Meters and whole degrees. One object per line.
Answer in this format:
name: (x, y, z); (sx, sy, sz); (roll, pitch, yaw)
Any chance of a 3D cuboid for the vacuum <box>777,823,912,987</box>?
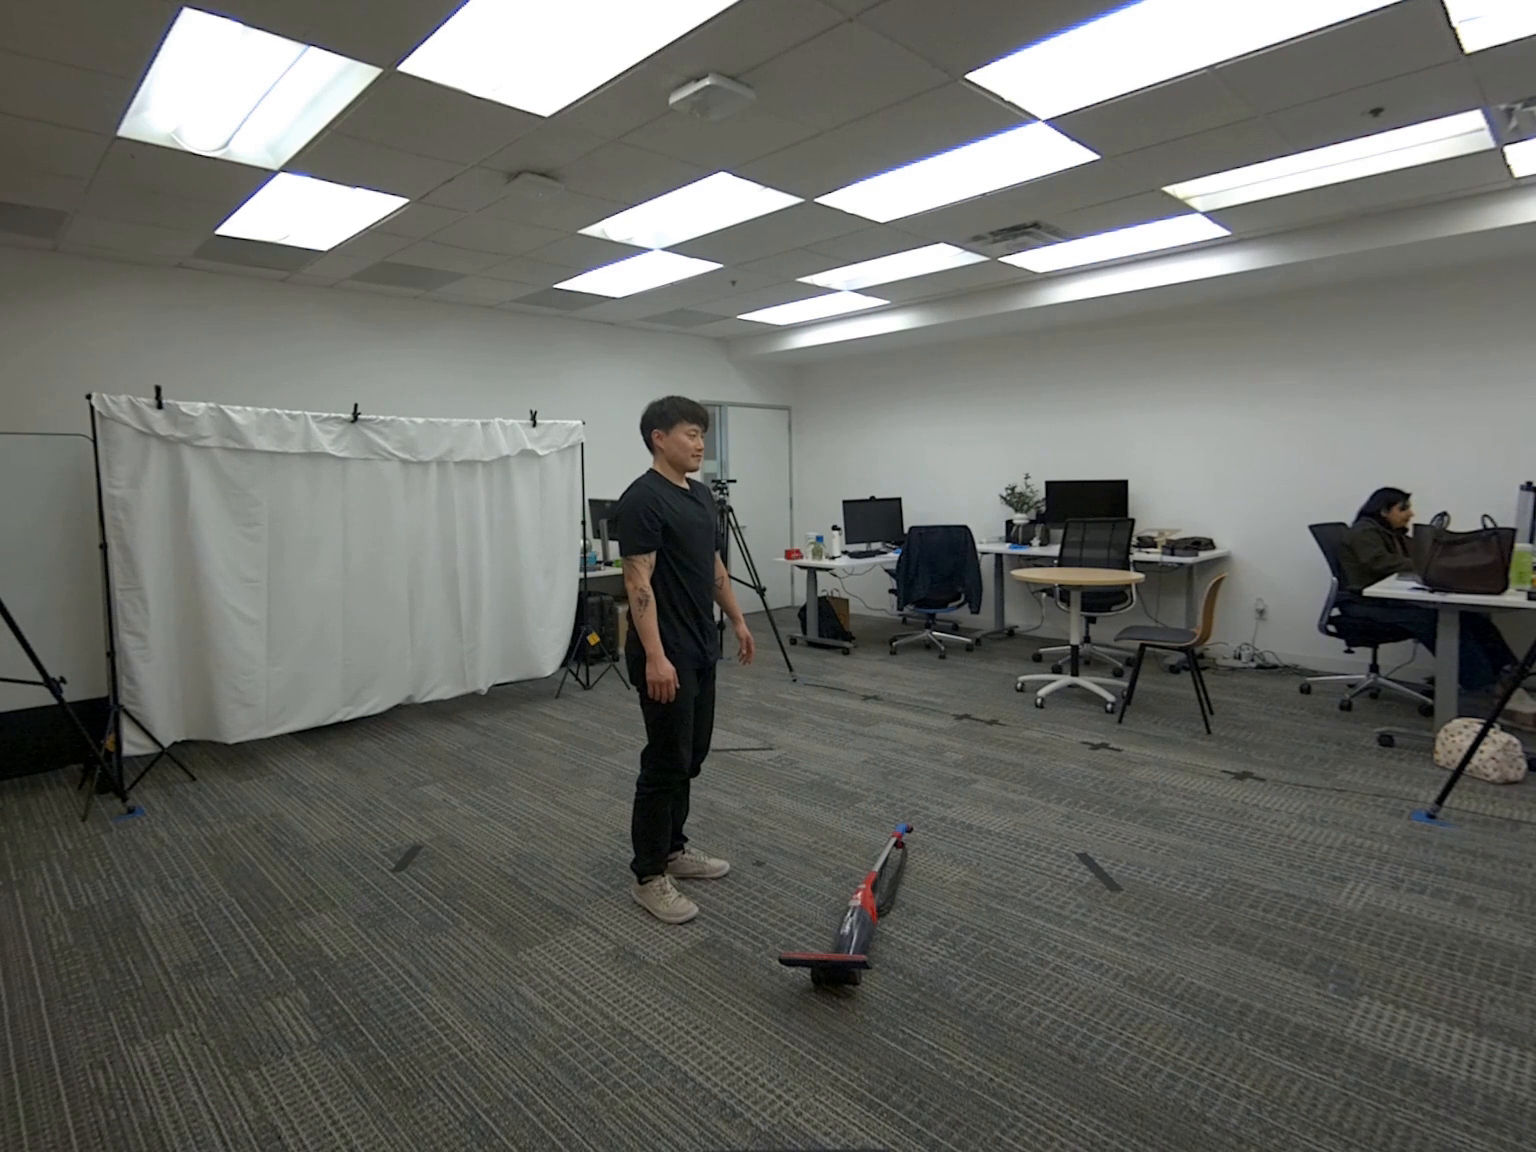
vacuum: (0.355, 1.024, 2.784); (0.257, 0.144, 1.031); (-10, 2, 22)
